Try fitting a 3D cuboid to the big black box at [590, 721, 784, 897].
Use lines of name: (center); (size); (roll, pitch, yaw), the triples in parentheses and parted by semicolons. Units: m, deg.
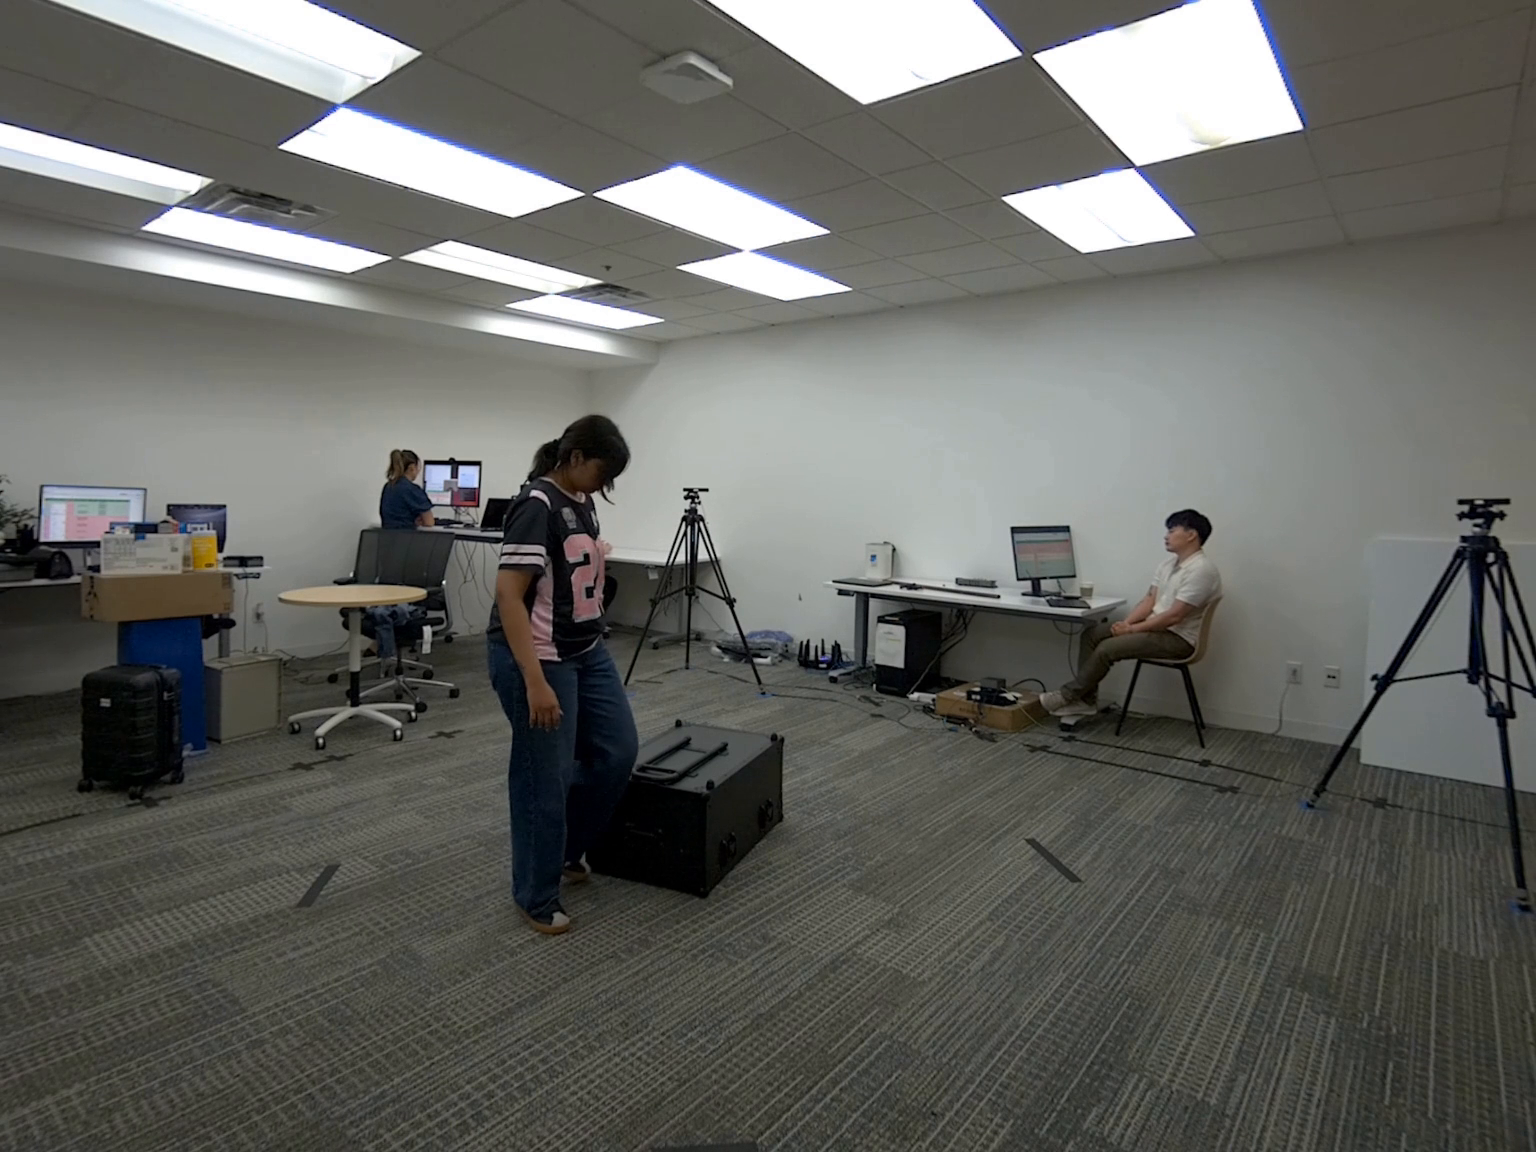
big black box: (-0.299, 0.856, 3.361); (0.535, 0.384, 0.852); (2, 5, 21)
